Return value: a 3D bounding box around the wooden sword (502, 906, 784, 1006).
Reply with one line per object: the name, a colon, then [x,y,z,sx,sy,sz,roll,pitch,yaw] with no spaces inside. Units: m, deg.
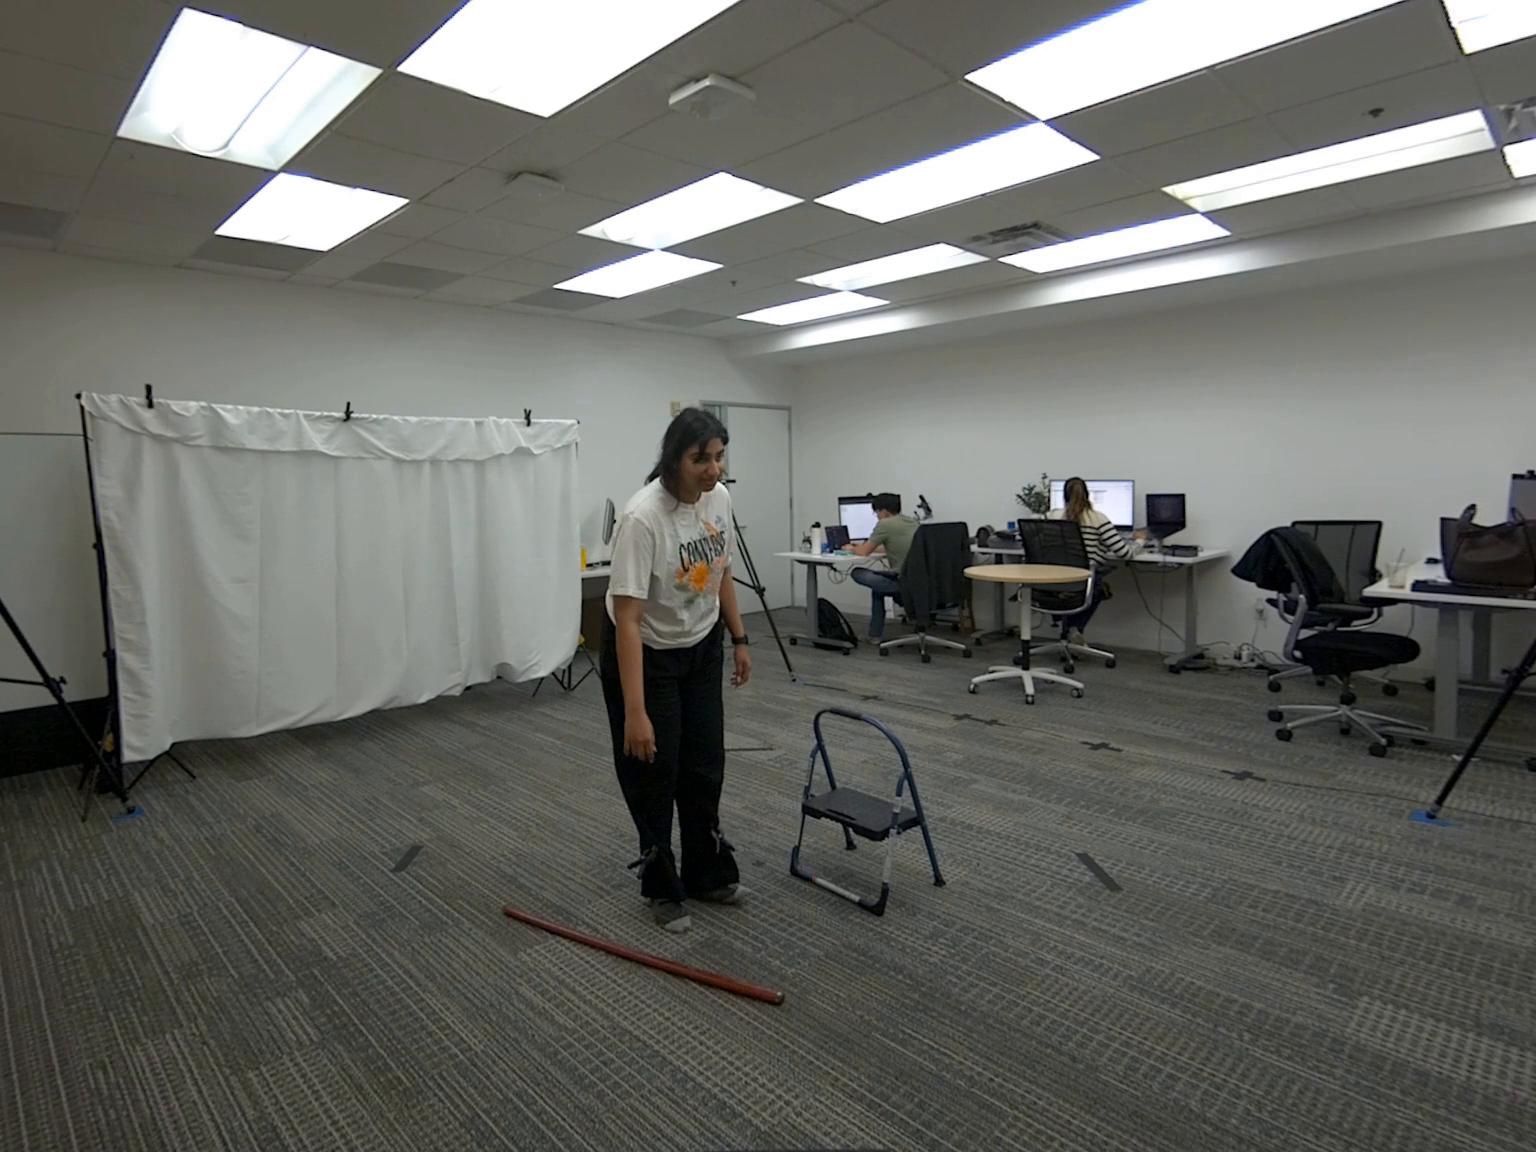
wooden sword: [-0.405,1.092,2.541,1.053,0.024,0.050,4,-3,32]
